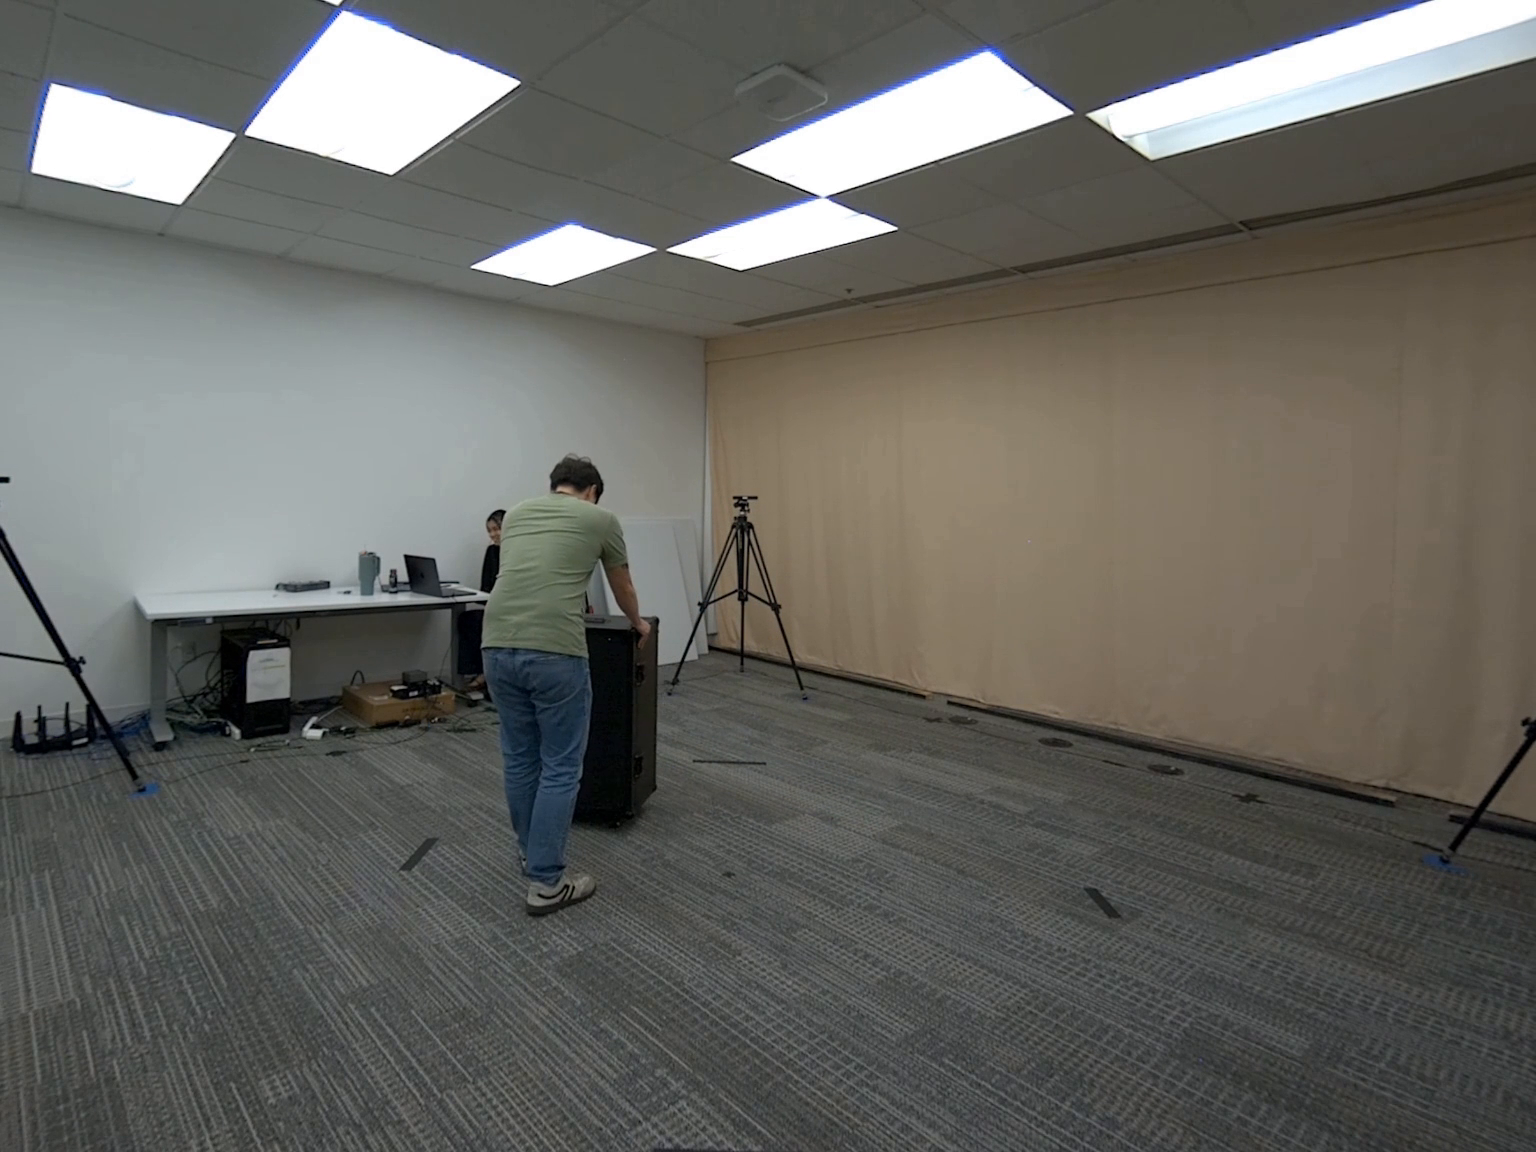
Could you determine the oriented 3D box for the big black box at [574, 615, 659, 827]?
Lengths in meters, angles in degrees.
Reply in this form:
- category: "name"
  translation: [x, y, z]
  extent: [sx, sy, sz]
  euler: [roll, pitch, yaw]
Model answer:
- category: "big black box"
  translation: [-0.767, 0.617, 3.652]
  extent: [0.526, 0.859, 0.393]
  euler: [2, 3, 11]
